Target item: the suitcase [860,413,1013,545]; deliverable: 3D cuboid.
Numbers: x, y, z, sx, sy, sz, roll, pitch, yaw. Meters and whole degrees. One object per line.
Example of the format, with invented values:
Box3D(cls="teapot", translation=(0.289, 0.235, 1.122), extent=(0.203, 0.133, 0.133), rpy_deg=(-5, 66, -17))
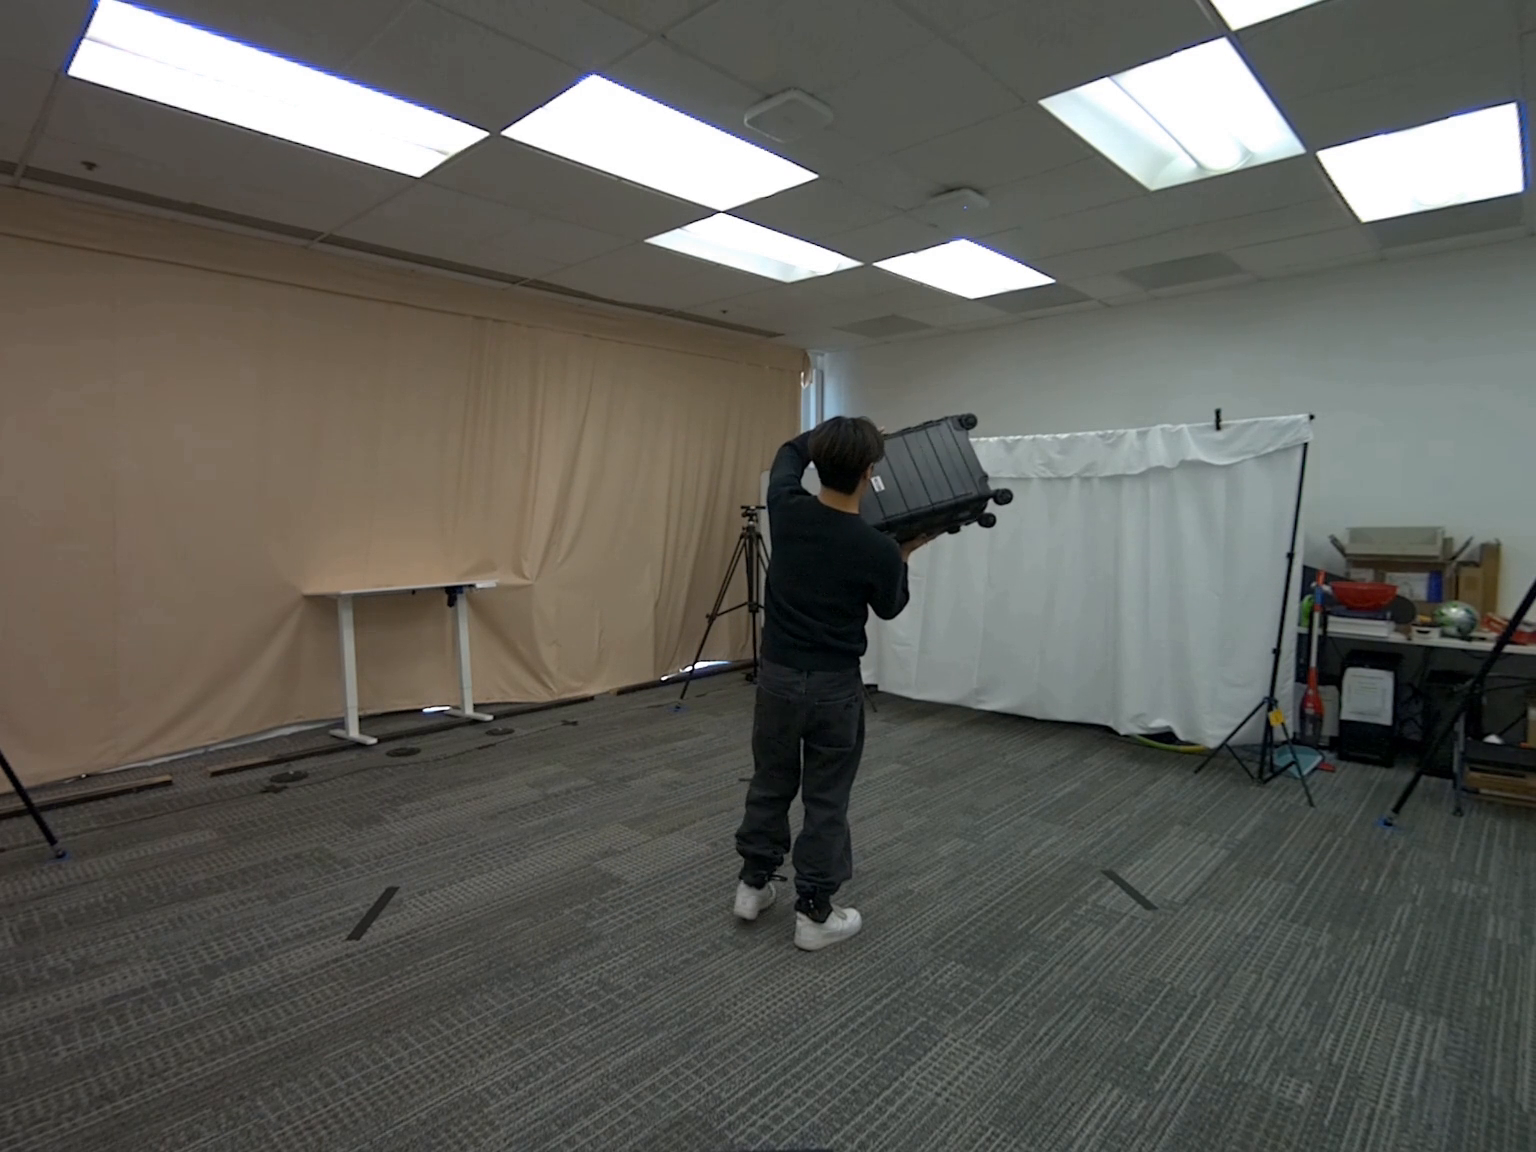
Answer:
Box3D(cls="suitcase", translation=(0.487, -0.310, 2.887), extent=(0.547, 0.382, 0.245), rpy_deg=(-14, -19, -5))
